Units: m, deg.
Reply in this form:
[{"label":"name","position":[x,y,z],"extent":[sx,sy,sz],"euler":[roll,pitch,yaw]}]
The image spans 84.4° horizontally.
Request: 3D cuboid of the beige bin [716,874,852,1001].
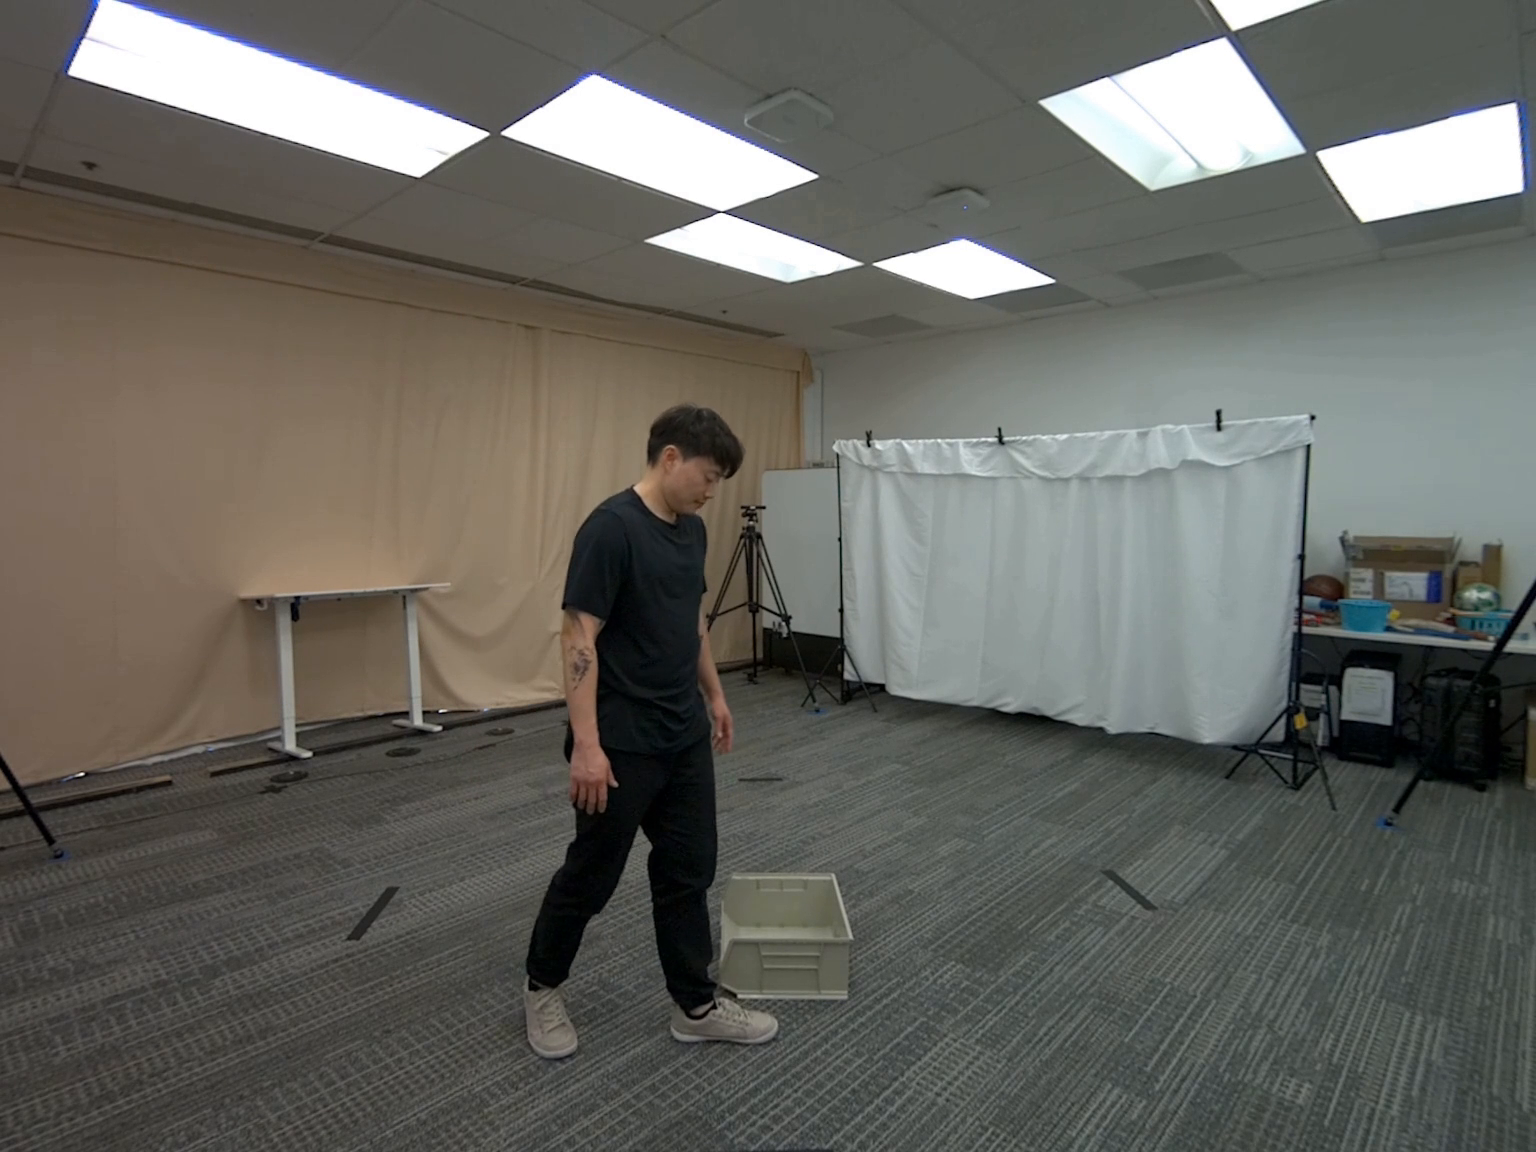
[{"label":"beige bin","position":[0.046,1.092,2.568],"extent":[0.377,0.188,0.423],"euler":[0,3,-2]}]
